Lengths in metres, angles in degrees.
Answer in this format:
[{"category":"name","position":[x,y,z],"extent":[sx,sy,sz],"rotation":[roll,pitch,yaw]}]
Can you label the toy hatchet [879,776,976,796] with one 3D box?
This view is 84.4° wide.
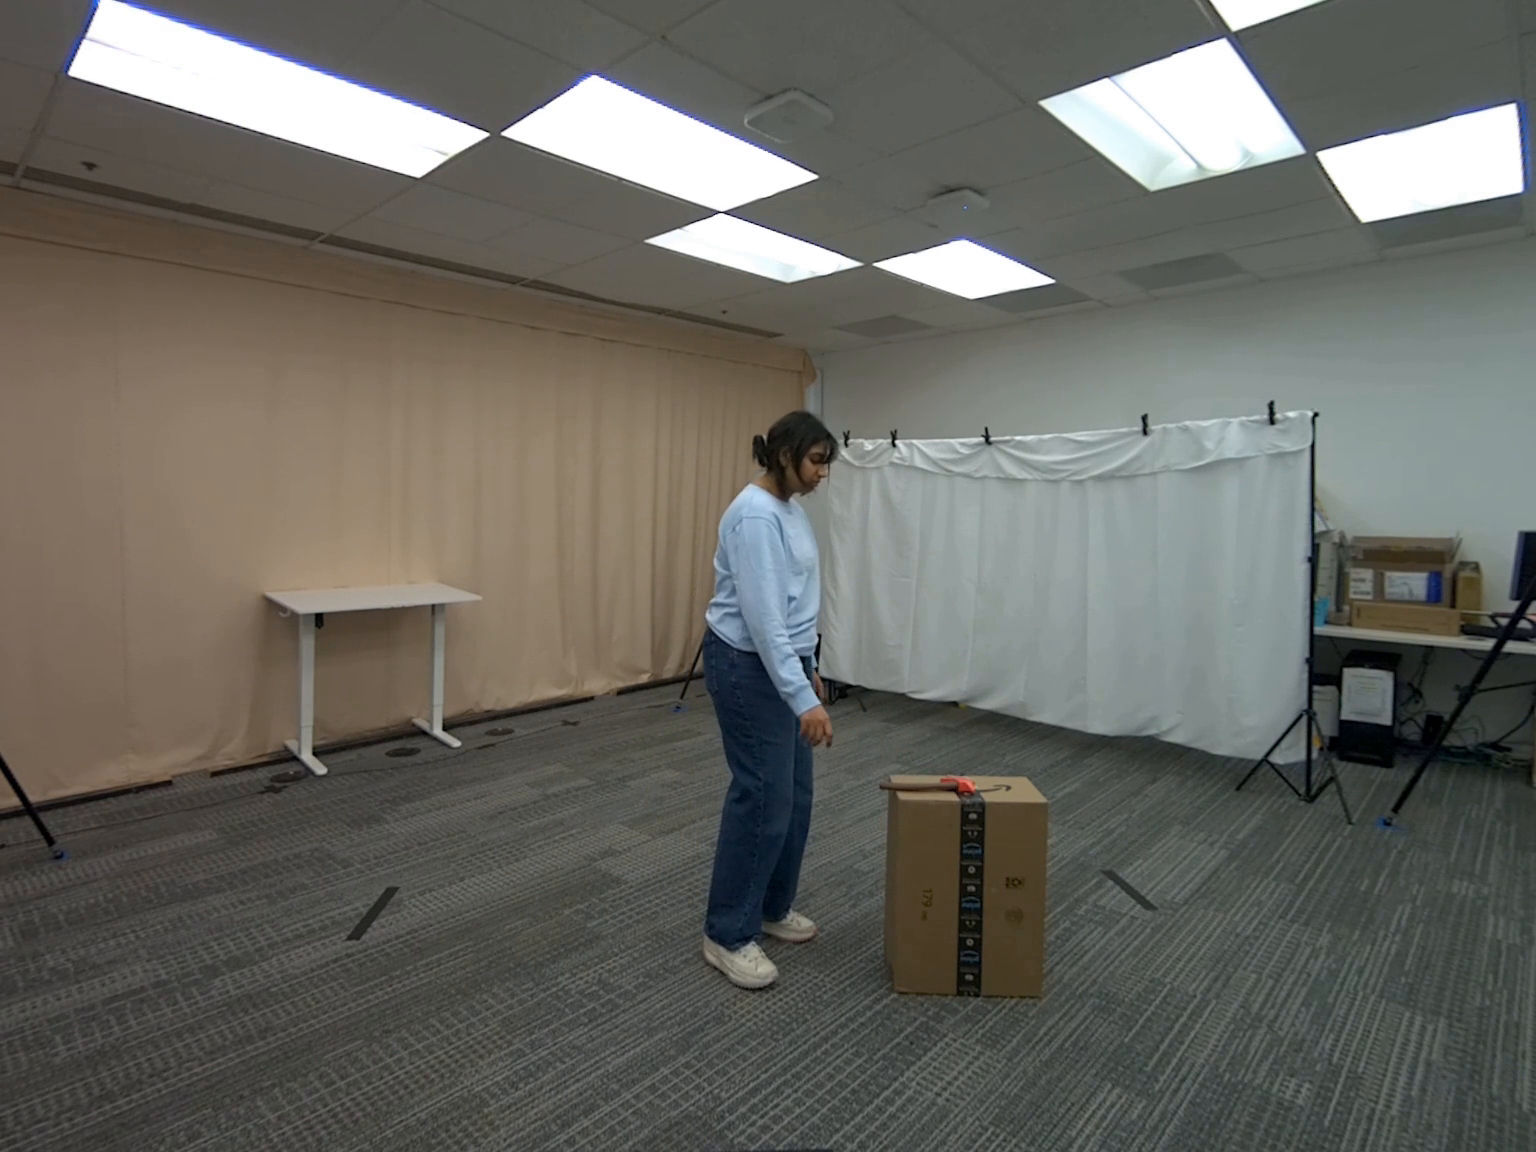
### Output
[{"category":"toy hatchet","position":[0.475,0.610,2.472],"extent":[0.274,0.029,0.129],"rotation":[0,5,12]}]
